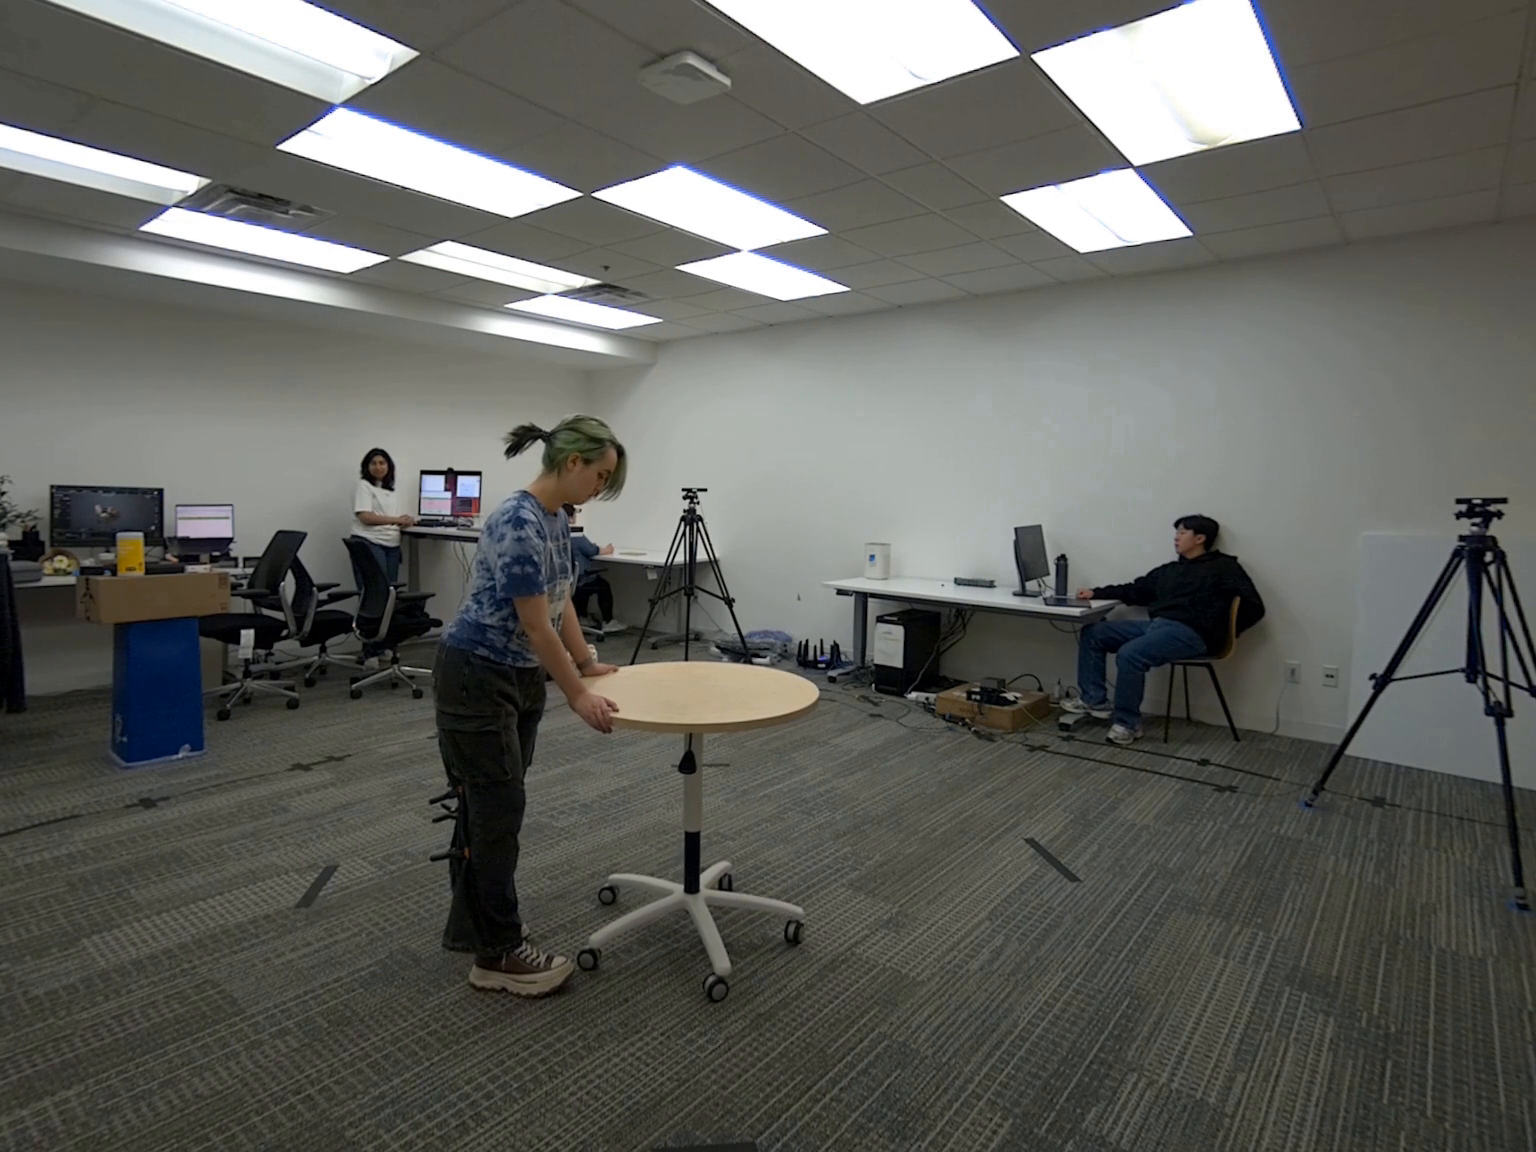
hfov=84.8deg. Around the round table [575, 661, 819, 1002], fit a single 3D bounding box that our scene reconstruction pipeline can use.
[{"bbox_3d":[-0.239,0.733,2.623,0.763,0.791,0.768,1,4,-2],"label":"round table"}]
